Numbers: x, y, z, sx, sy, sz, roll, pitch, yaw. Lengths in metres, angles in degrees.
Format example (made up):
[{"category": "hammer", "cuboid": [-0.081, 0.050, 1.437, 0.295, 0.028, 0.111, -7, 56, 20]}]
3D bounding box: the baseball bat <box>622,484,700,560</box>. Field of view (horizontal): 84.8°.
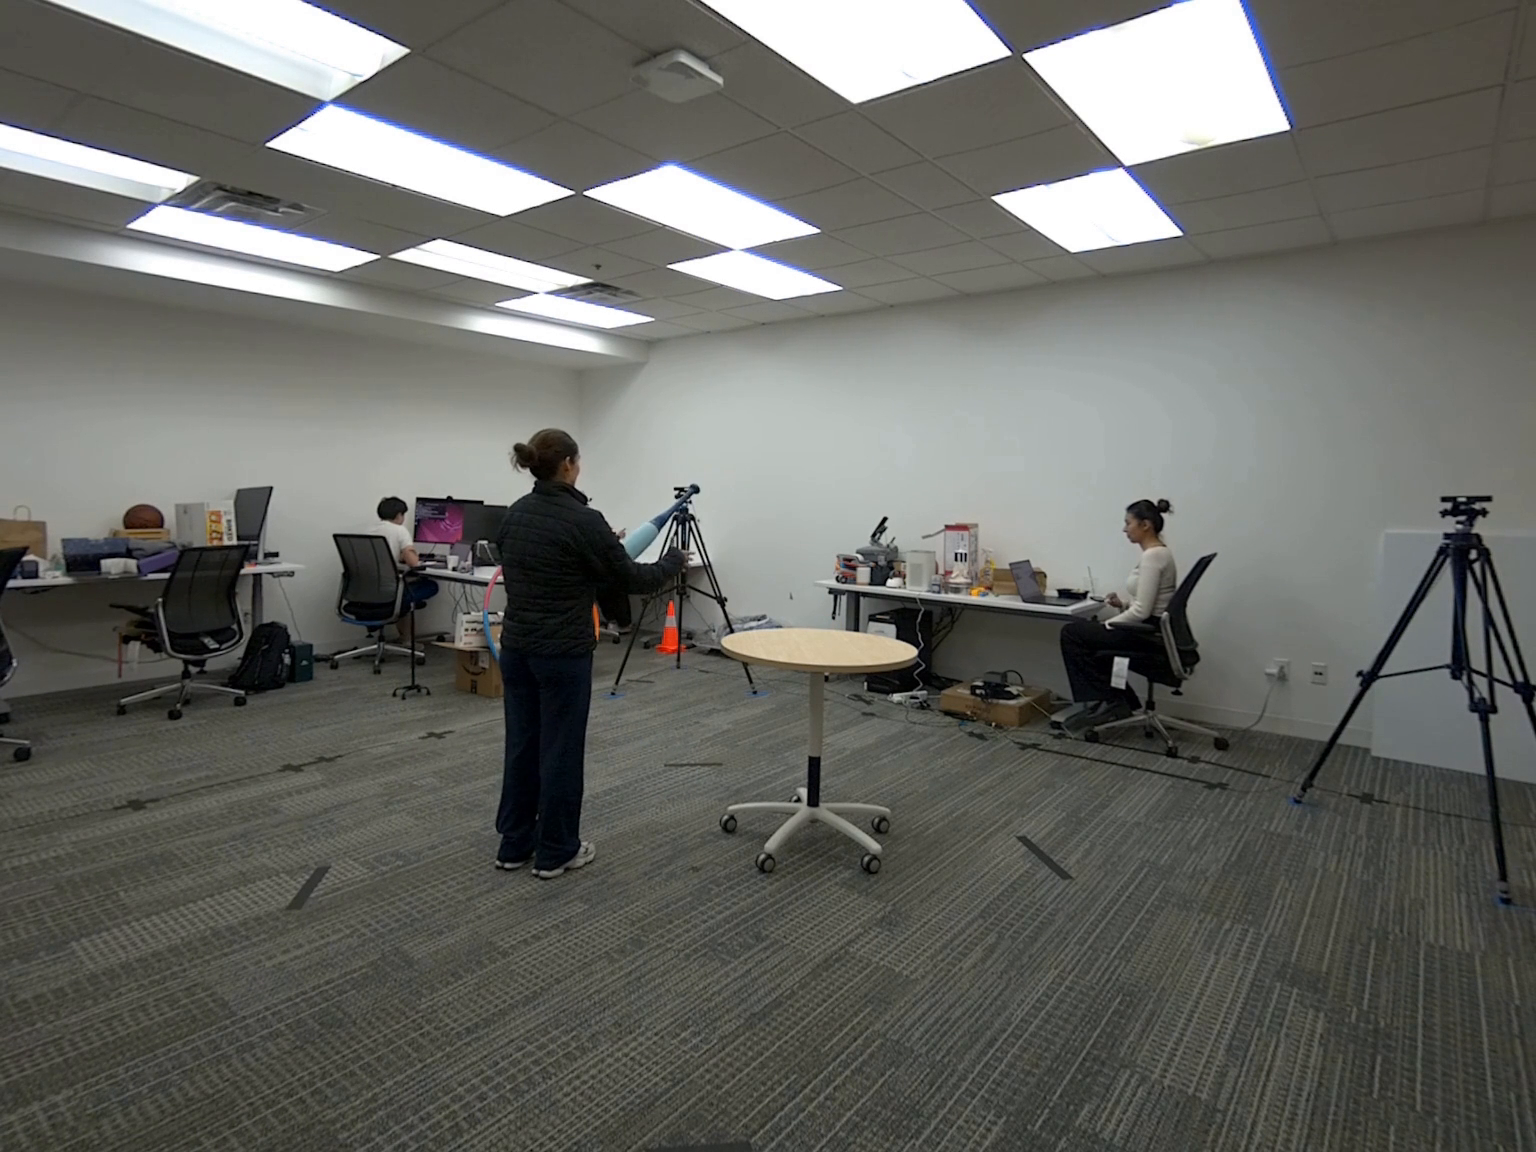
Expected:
[{"category": "baseball bat", "cuboid": [-0.445, -0.165, 3.522, 0.092, 0.086, 0.542, 5, 44, 49]}]
